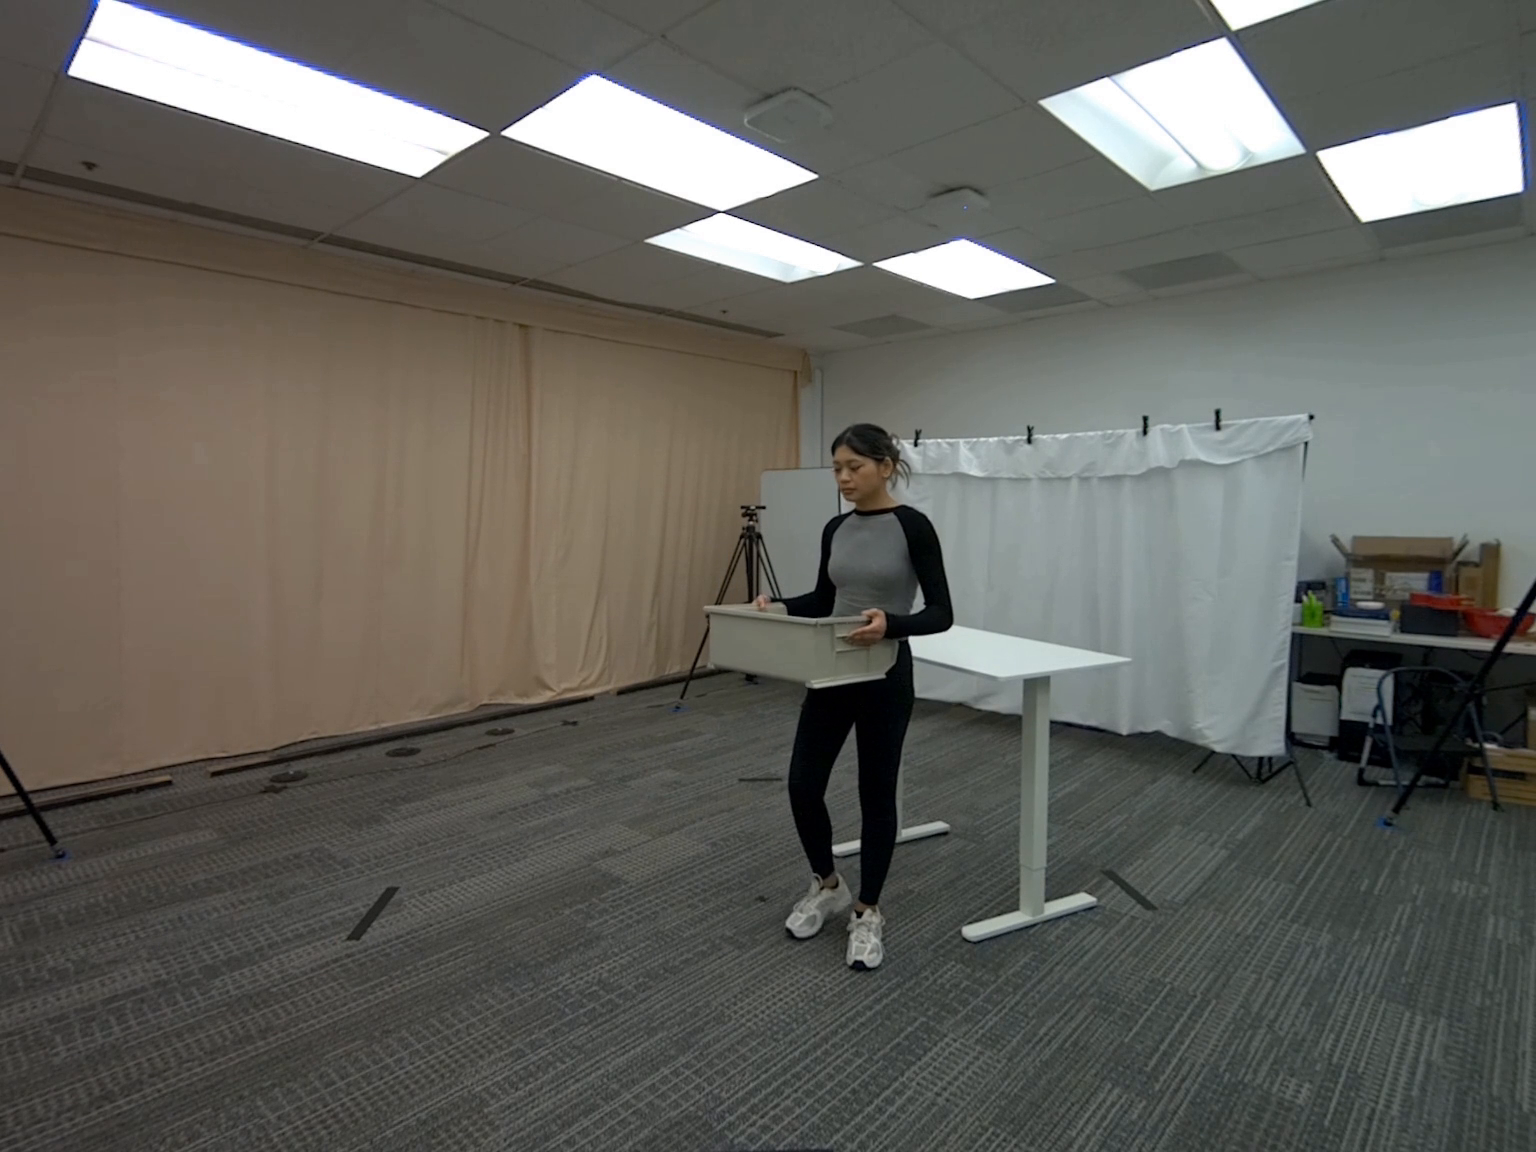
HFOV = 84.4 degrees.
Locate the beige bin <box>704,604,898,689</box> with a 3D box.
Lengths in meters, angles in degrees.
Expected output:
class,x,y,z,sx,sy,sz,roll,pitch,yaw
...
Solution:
class,x,y,z,sx,sy,sz,roll,pitch,yaw
beige bin,0.095,0.188,2.426,0.366,0.188,0.436,-4,6,-45
